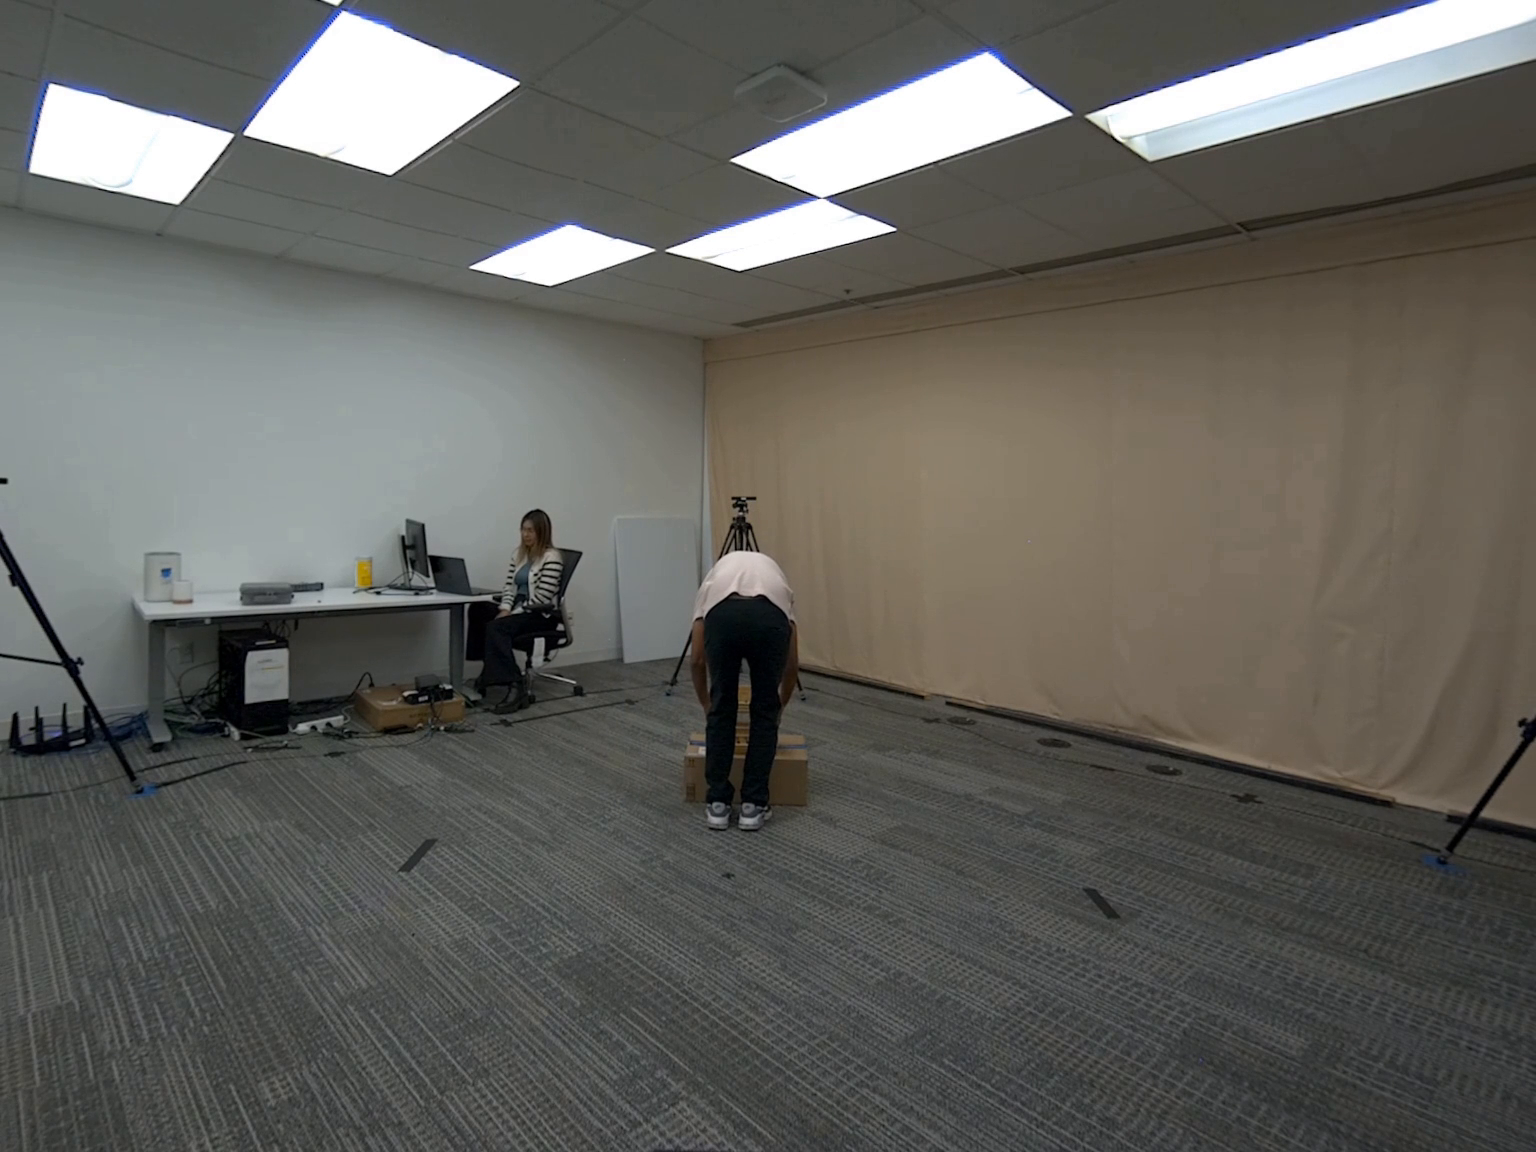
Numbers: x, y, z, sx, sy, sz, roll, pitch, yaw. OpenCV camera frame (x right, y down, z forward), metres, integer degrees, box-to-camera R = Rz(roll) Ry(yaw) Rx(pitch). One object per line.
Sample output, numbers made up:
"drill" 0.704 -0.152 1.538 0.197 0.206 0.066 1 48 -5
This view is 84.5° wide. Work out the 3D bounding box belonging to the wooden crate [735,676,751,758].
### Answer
"wooden crate" -0.117 0.685 4.027 0.323 0.273 0.304 2 3 -6
